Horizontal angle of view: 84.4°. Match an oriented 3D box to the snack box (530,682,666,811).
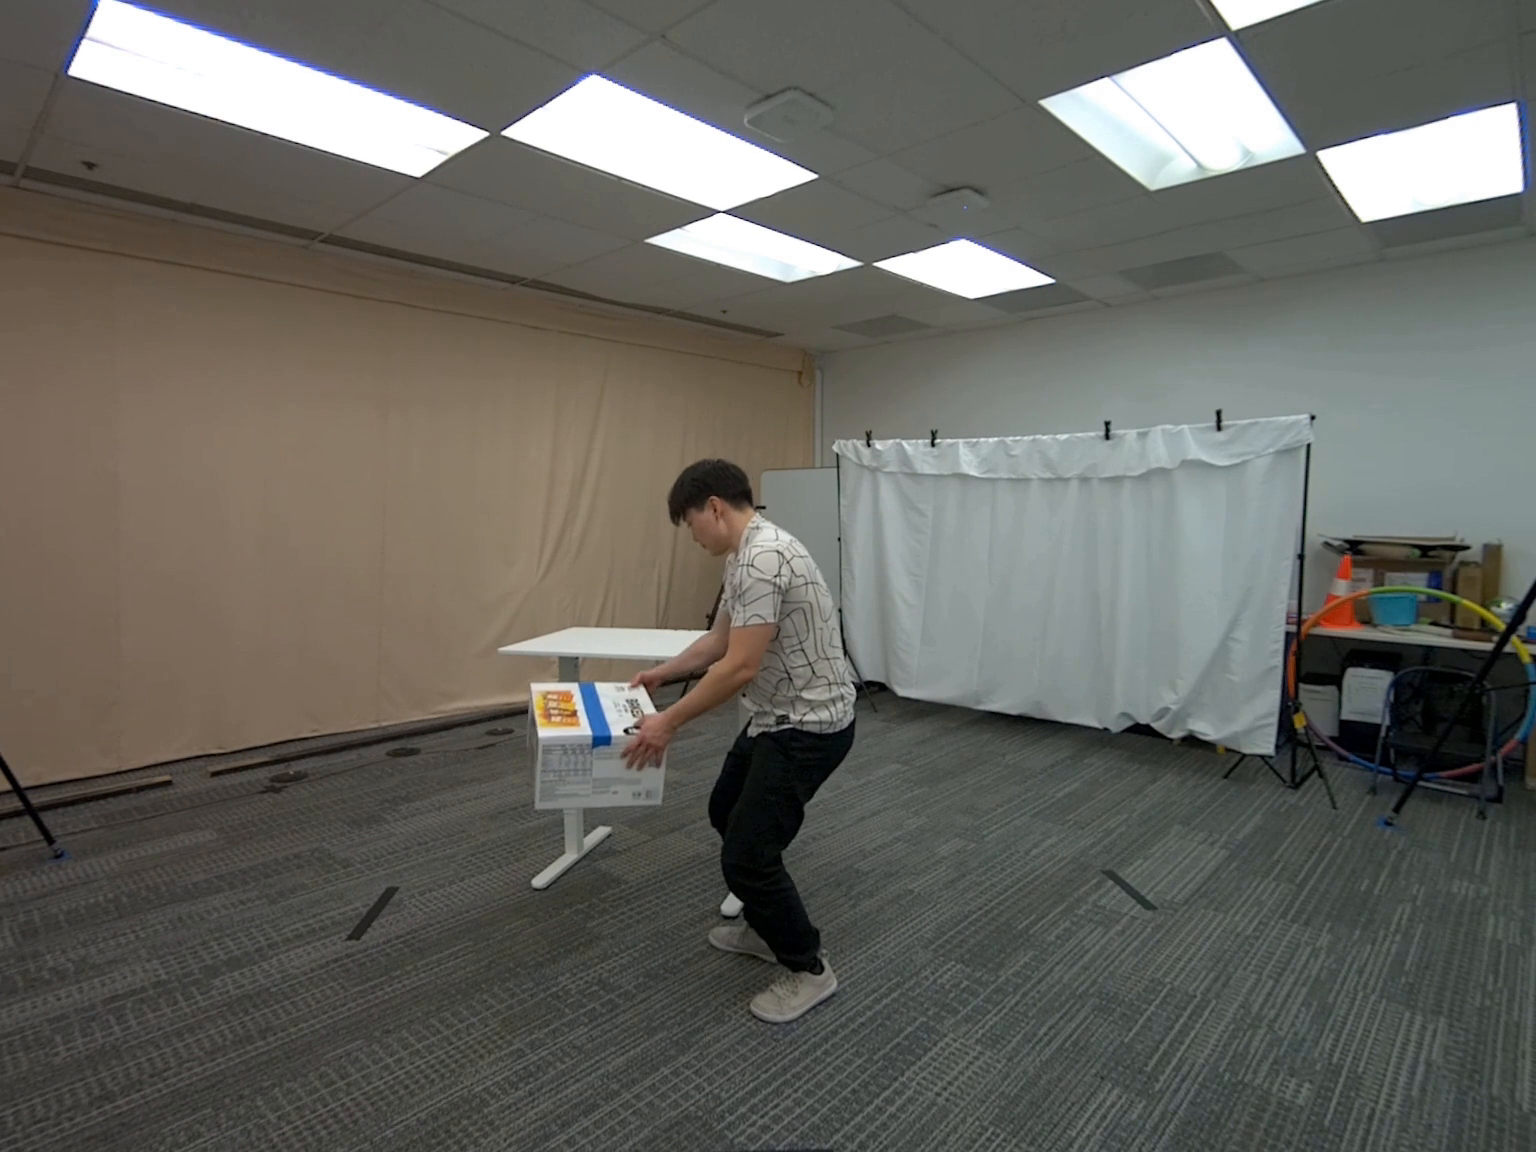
[{"bbox_3d":[-0.495,0.474,2.400,0.334,0.204,0.414,1,12,-17],"label":"snack box"}]
